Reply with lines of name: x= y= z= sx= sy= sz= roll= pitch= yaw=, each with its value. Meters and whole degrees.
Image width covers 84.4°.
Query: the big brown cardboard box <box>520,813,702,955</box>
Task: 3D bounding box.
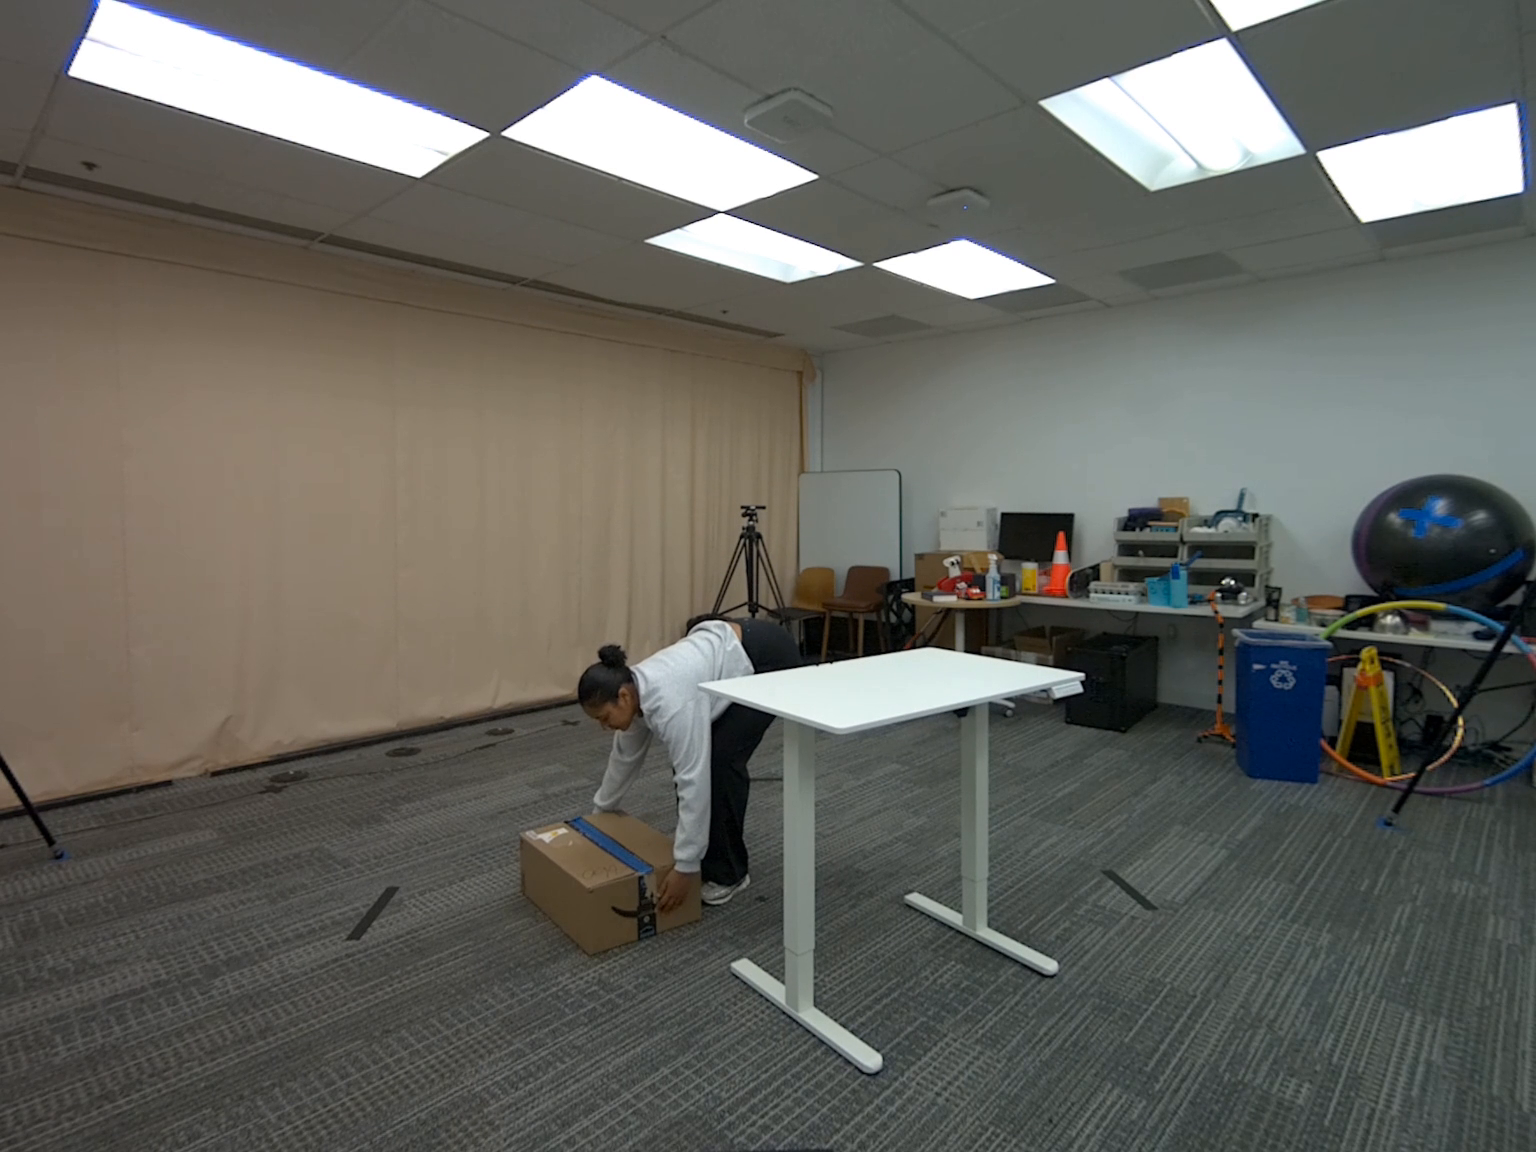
big brown cardboard box: x=-0.568 y=1.044 z=2.939 sx=0.405 sy=0.232 sz=0.608 roll=-4 pitch=6 yaw=-37
